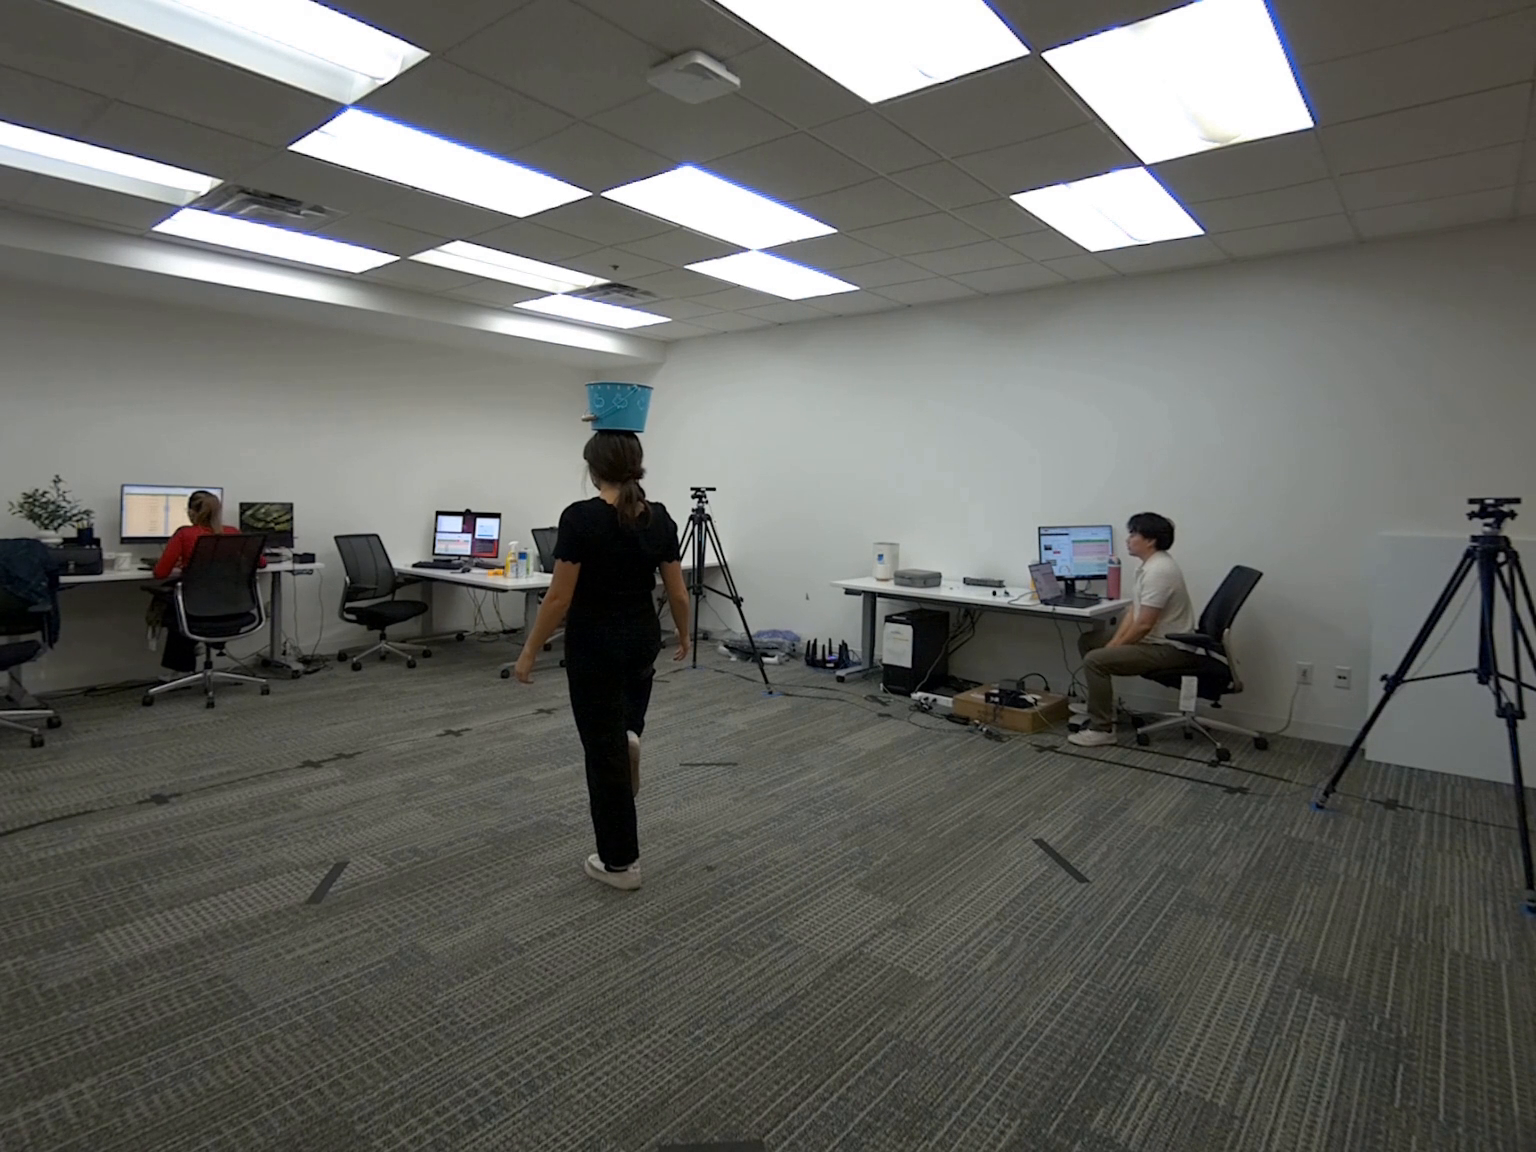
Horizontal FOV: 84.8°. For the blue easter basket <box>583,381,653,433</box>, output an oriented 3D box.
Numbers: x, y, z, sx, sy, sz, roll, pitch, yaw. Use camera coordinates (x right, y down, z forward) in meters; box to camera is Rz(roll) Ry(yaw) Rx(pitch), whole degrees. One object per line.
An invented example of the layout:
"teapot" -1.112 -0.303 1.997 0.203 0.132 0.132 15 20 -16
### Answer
"blue easter basket" -0.527 -0.575 2.883 0.243 0.155 0.245 2 5 -2
